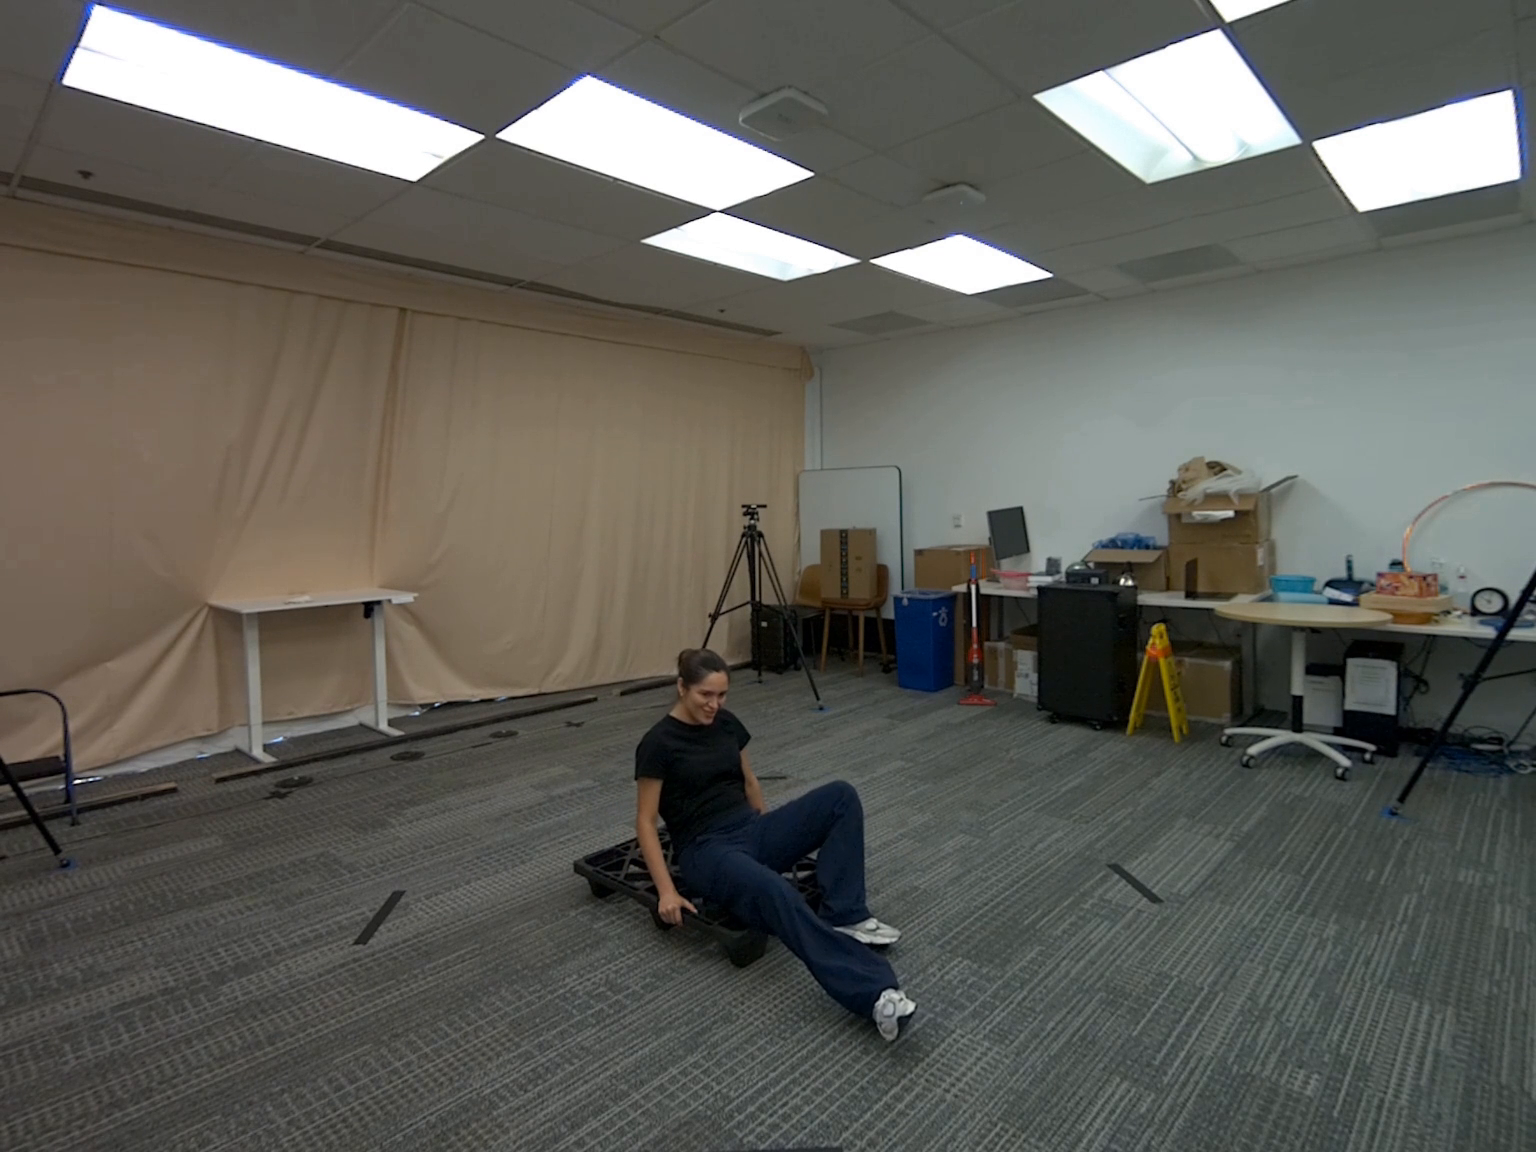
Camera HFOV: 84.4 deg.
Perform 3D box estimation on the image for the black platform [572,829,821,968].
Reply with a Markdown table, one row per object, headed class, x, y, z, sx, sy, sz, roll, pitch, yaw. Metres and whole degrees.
| class | x | y | z | sx | sy | sz | roll | pitch | yaw |
| --- | --- | --- | --- | --- | --- | --- | --- | --- | --- |
| black platform | -0.191 | 1.083 | 2.943 | 0.832 | 0.143 | 0.587 | 4 | 8 | 42 |
